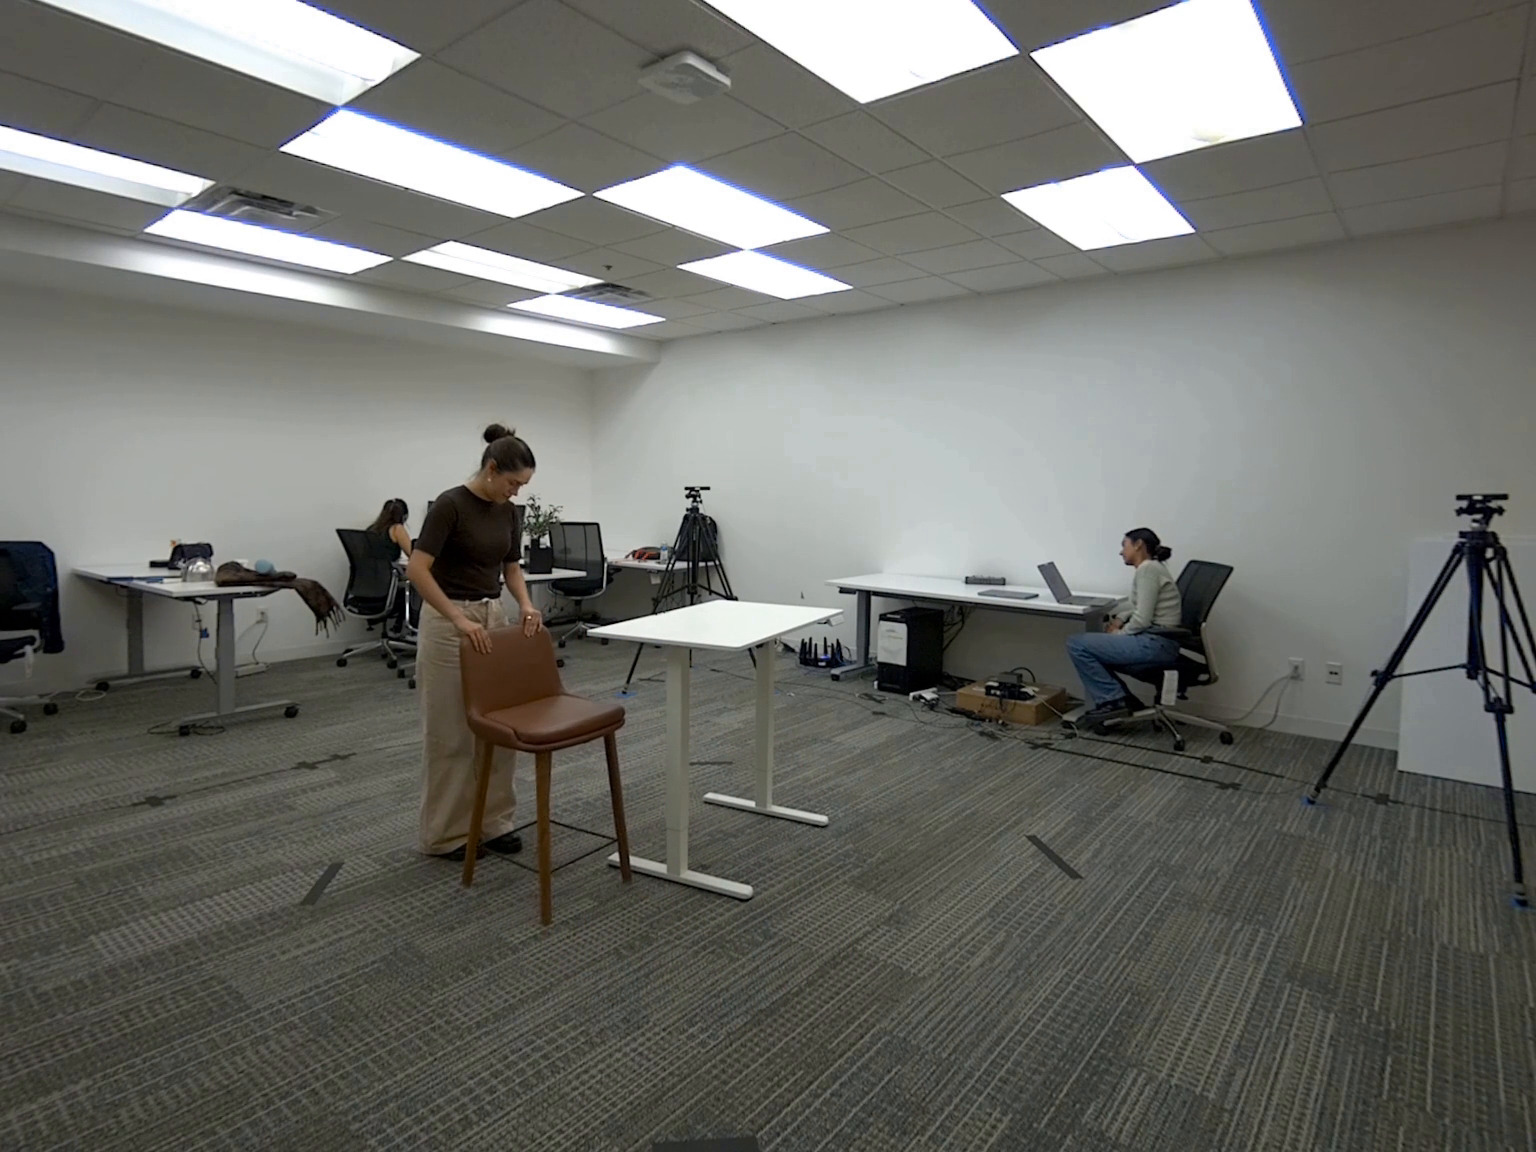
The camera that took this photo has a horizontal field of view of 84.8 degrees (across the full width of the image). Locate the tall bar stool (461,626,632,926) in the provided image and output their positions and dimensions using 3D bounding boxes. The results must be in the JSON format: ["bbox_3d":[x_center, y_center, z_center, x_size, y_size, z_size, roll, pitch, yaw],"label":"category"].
[{"bbox_3d":[-0.795,0.632,2.952,0.481,0.888,0.444,-1,2,35],"label":"tall bar stool"}]
